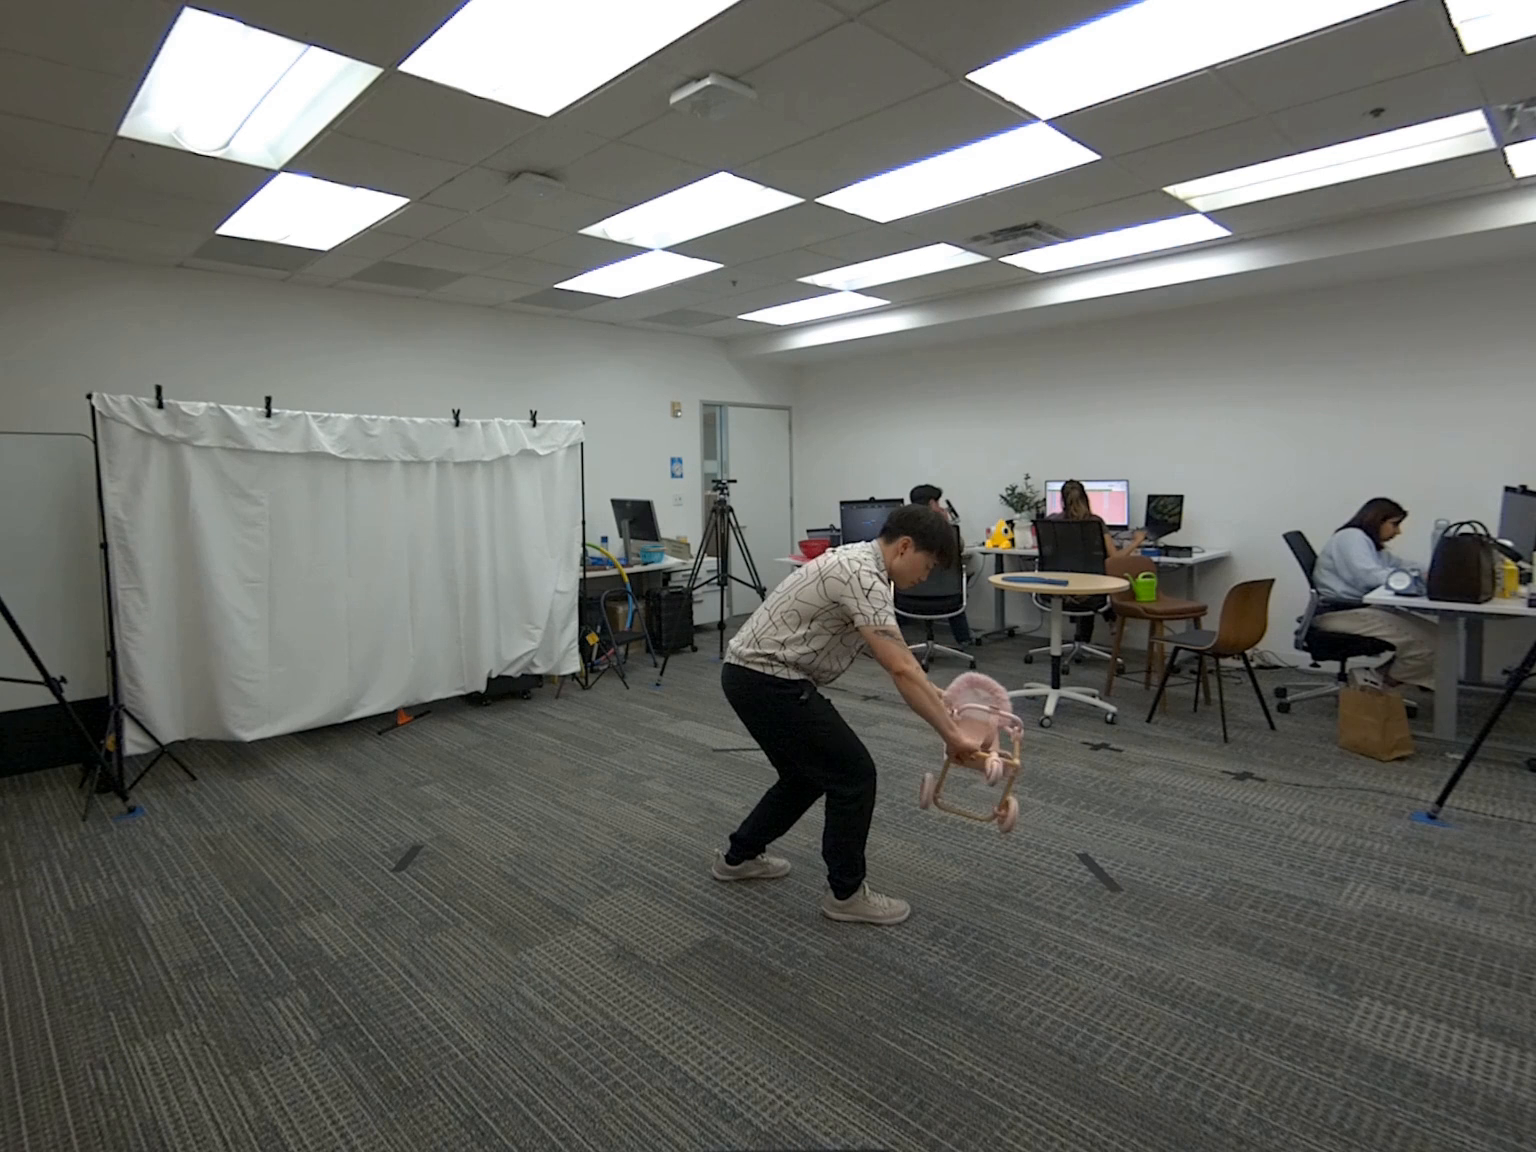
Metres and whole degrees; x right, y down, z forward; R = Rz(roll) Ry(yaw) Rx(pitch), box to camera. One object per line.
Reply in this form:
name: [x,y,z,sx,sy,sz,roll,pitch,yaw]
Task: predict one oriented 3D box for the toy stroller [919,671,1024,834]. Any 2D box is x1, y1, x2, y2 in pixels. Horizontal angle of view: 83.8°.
toy stroller: [0.643,0.496,2.635,0.284,0.333,0.543,12,40,6]
